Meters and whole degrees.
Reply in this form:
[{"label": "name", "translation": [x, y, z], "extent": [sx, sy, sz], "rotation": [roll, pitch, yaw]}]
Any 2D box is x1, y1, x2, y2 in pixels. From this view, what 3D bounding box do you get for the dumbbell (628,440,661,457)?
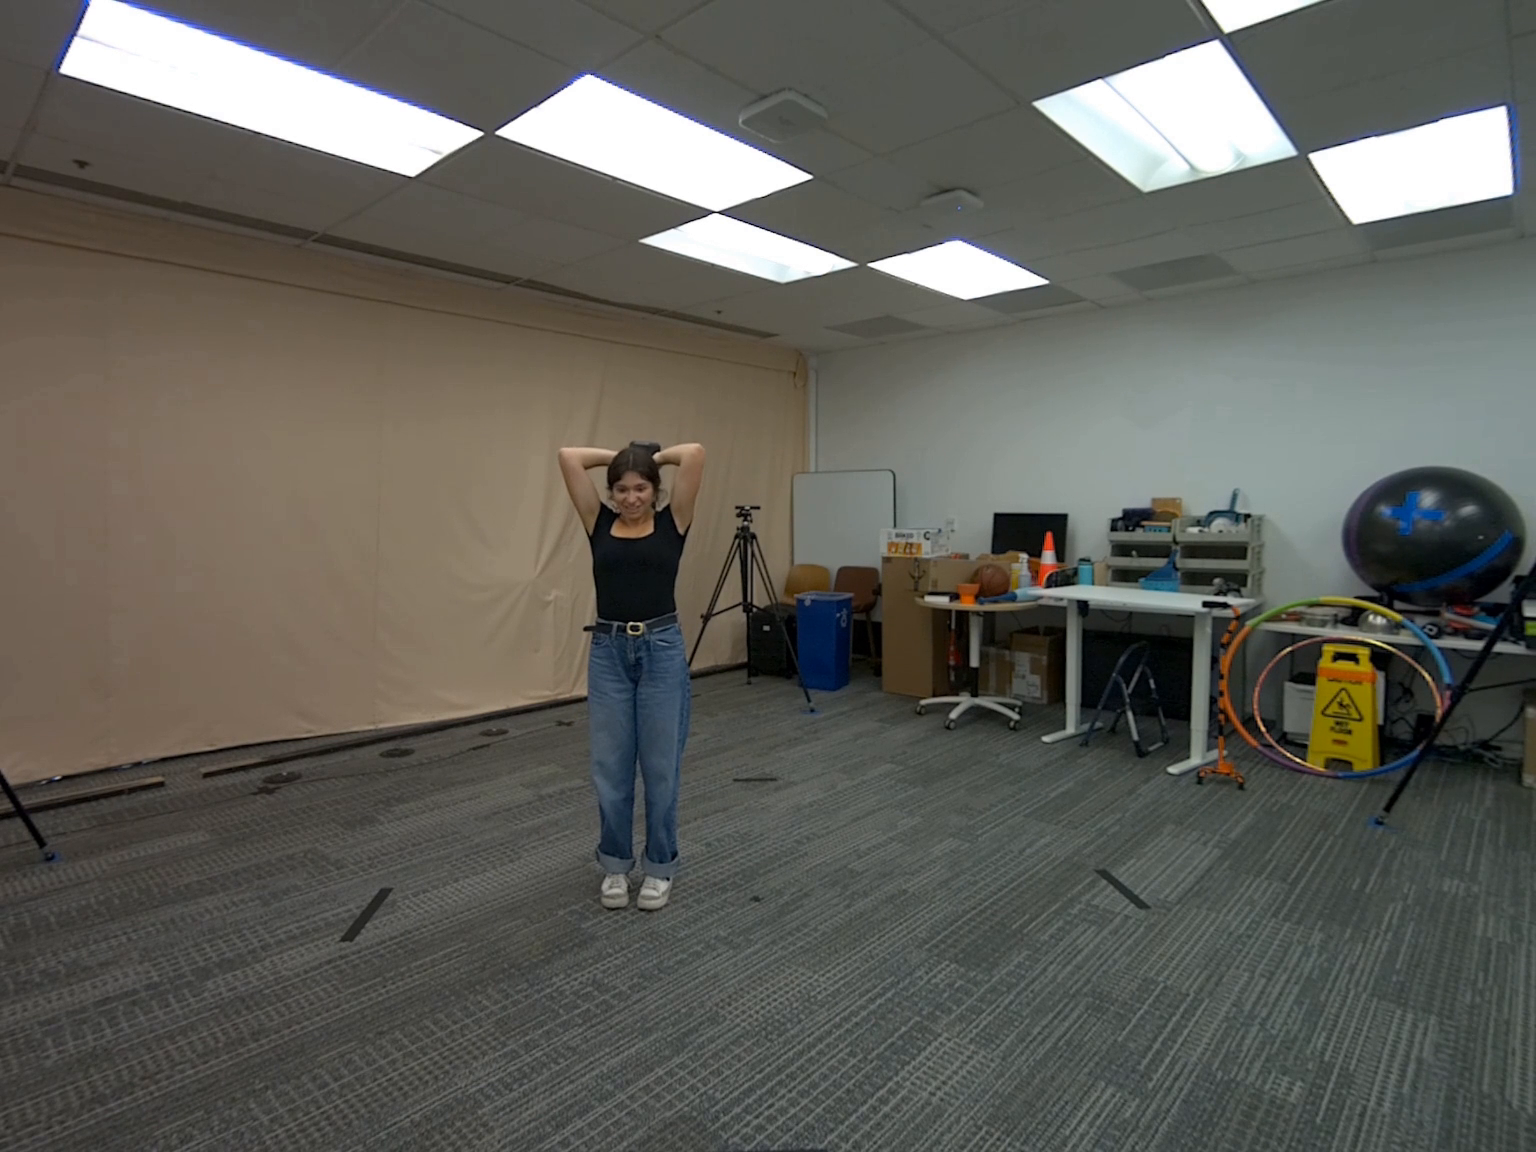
[{"label": "dumbbell", "translation": [-0.472, -0.359, 3.141], "extent": [0.119, 0.292, 0.112], "rotation": [0, 10, -44]}]
